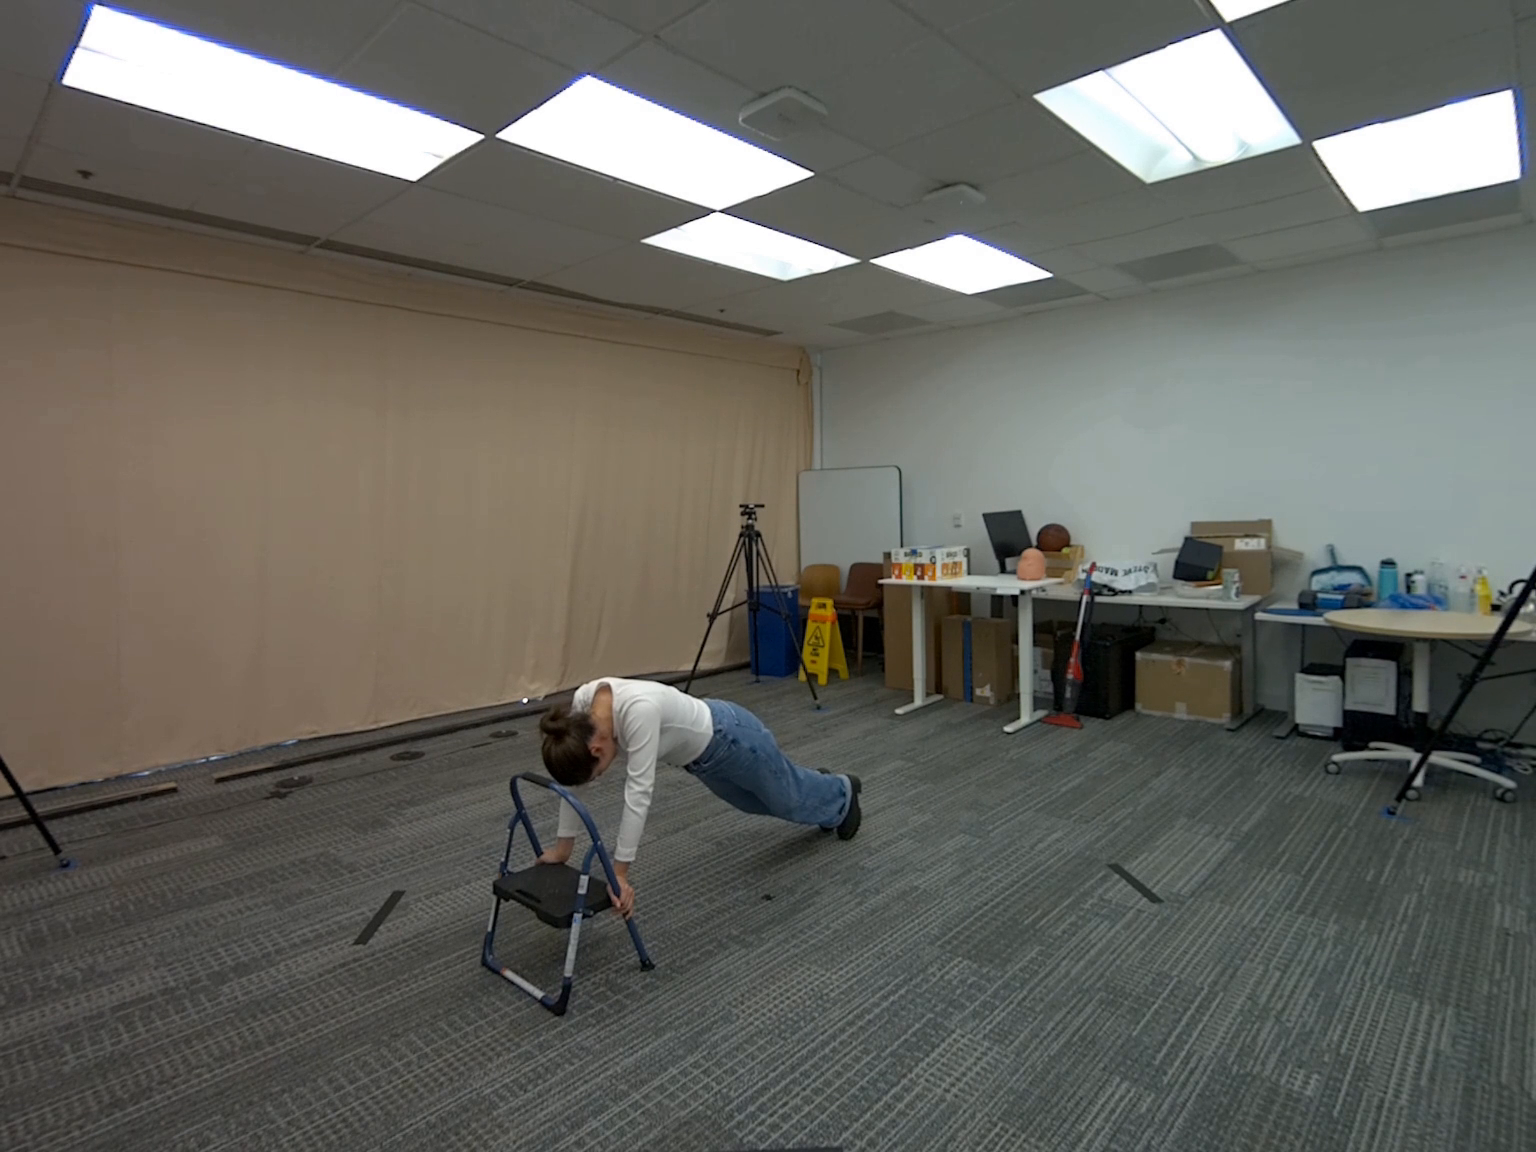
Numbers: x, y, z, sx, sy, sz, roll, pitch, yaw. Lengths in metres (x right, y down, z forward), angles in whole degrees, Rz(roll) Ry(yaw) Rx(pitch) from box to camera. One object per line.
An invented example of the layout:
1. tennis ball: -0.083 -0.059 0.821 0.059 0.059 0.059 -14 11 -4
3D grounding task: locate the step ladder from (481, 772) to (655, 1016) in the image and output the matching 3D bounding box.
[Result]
1. step ladder: -0.623 0.892 2.547 0.445 0.605 0.339 2 4 41
